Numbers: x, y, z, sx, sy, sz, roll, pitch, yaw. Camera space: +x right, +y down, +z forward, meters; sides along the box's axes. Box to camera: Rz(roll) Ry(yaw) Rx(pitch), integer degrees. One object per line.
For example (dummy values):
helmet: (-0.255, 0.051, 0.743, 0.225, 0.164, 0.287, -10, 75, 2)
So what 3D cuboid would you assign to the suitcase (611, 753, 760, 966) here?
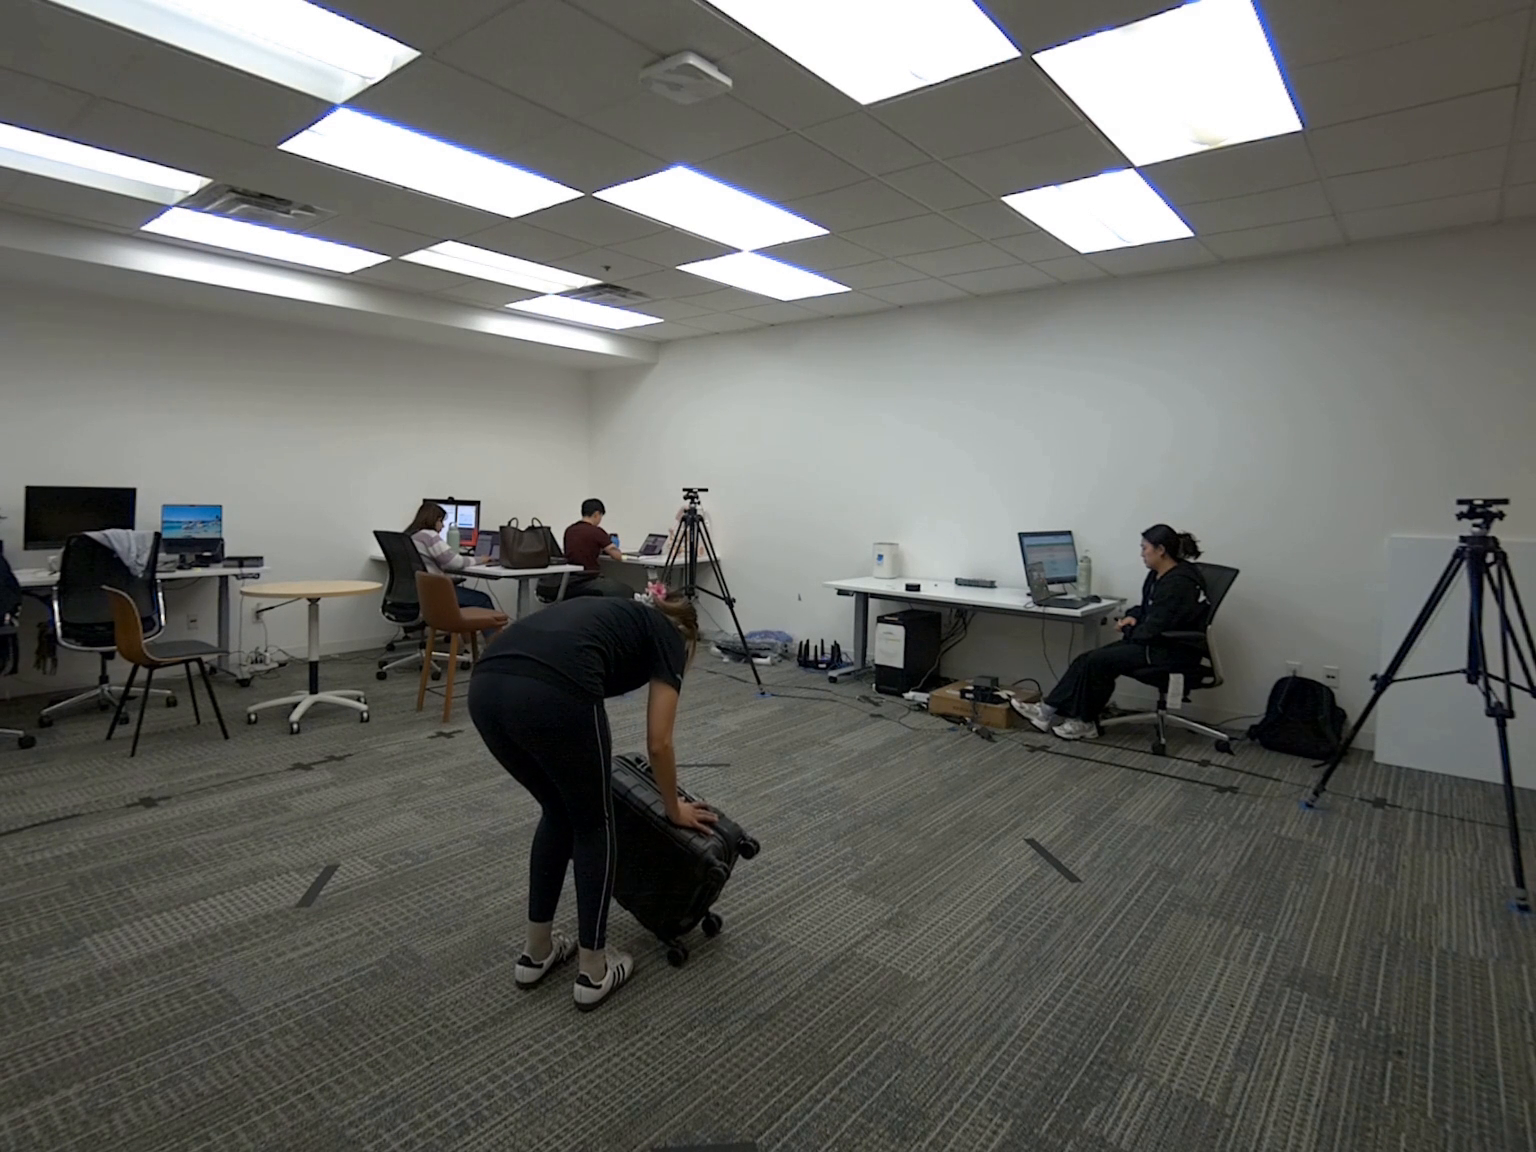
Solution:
suitcase: (-0.525, 0.732, 2.724, 1.009, 0.381, 0.251, 30, 17, 23)
